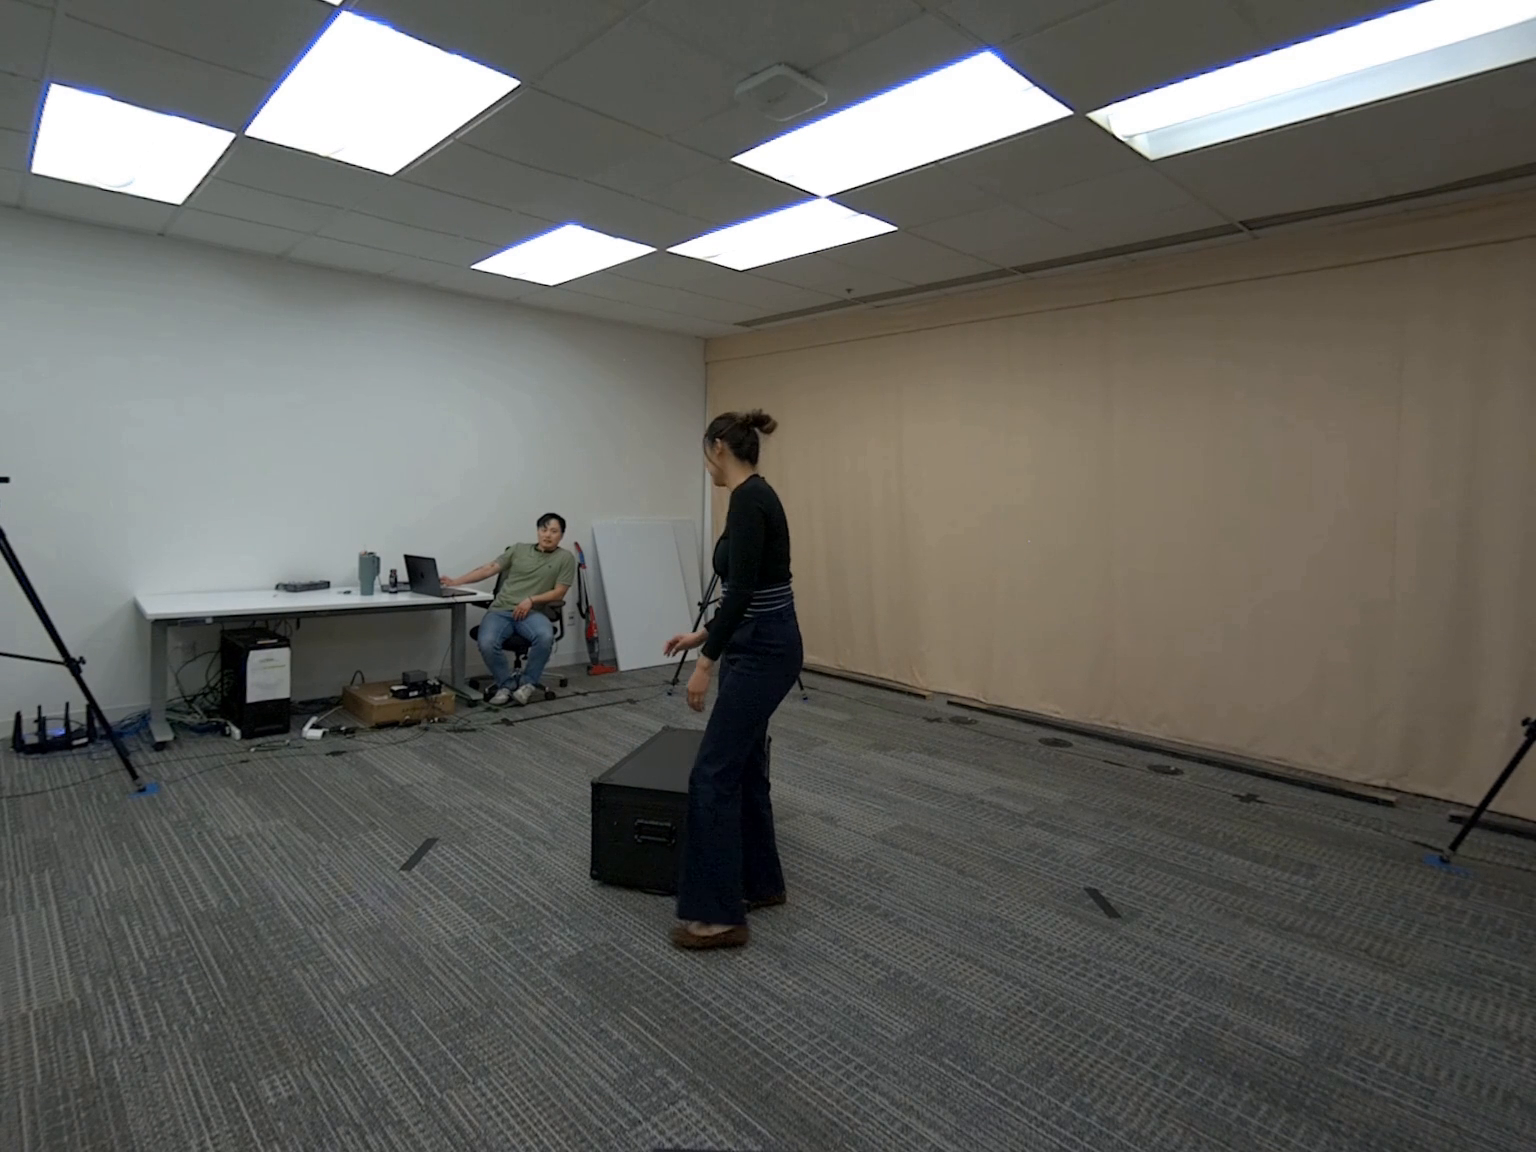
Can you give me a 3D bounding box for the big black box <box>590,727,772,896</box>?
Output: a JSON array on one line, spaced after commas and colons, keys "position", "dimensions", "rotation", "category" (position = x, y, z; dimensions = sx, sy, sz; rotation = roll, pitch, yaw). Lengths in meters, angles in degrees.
[{"position": [-0.306, 0.882, 3.327], "dimensions": [0.527, 0.395, 0.854], "rotation": [3, 6, 13], "category": "big black box"}]
